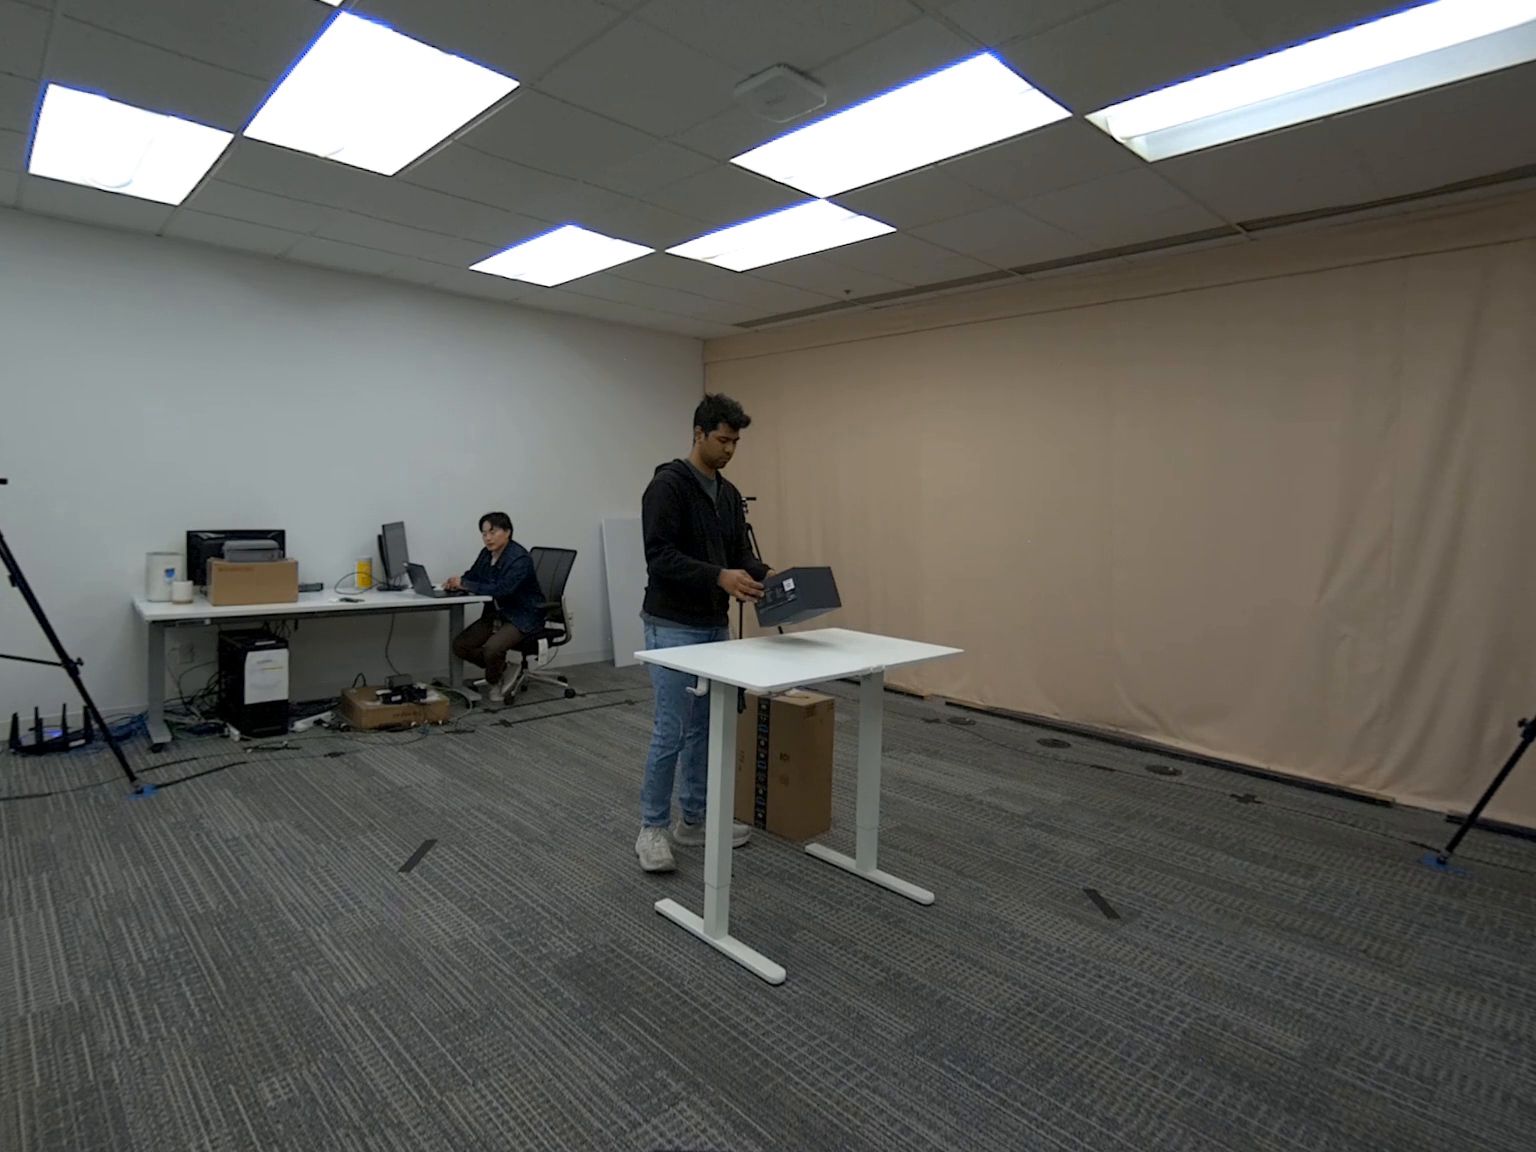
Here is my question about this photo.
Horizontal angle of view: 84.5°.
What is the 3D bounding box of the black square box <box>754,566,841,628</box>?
[{"bbox_3d":[0.094,0.075,3.021,0.219,0.158,0.222,-23,-14,36],"label":"black square box"}]
